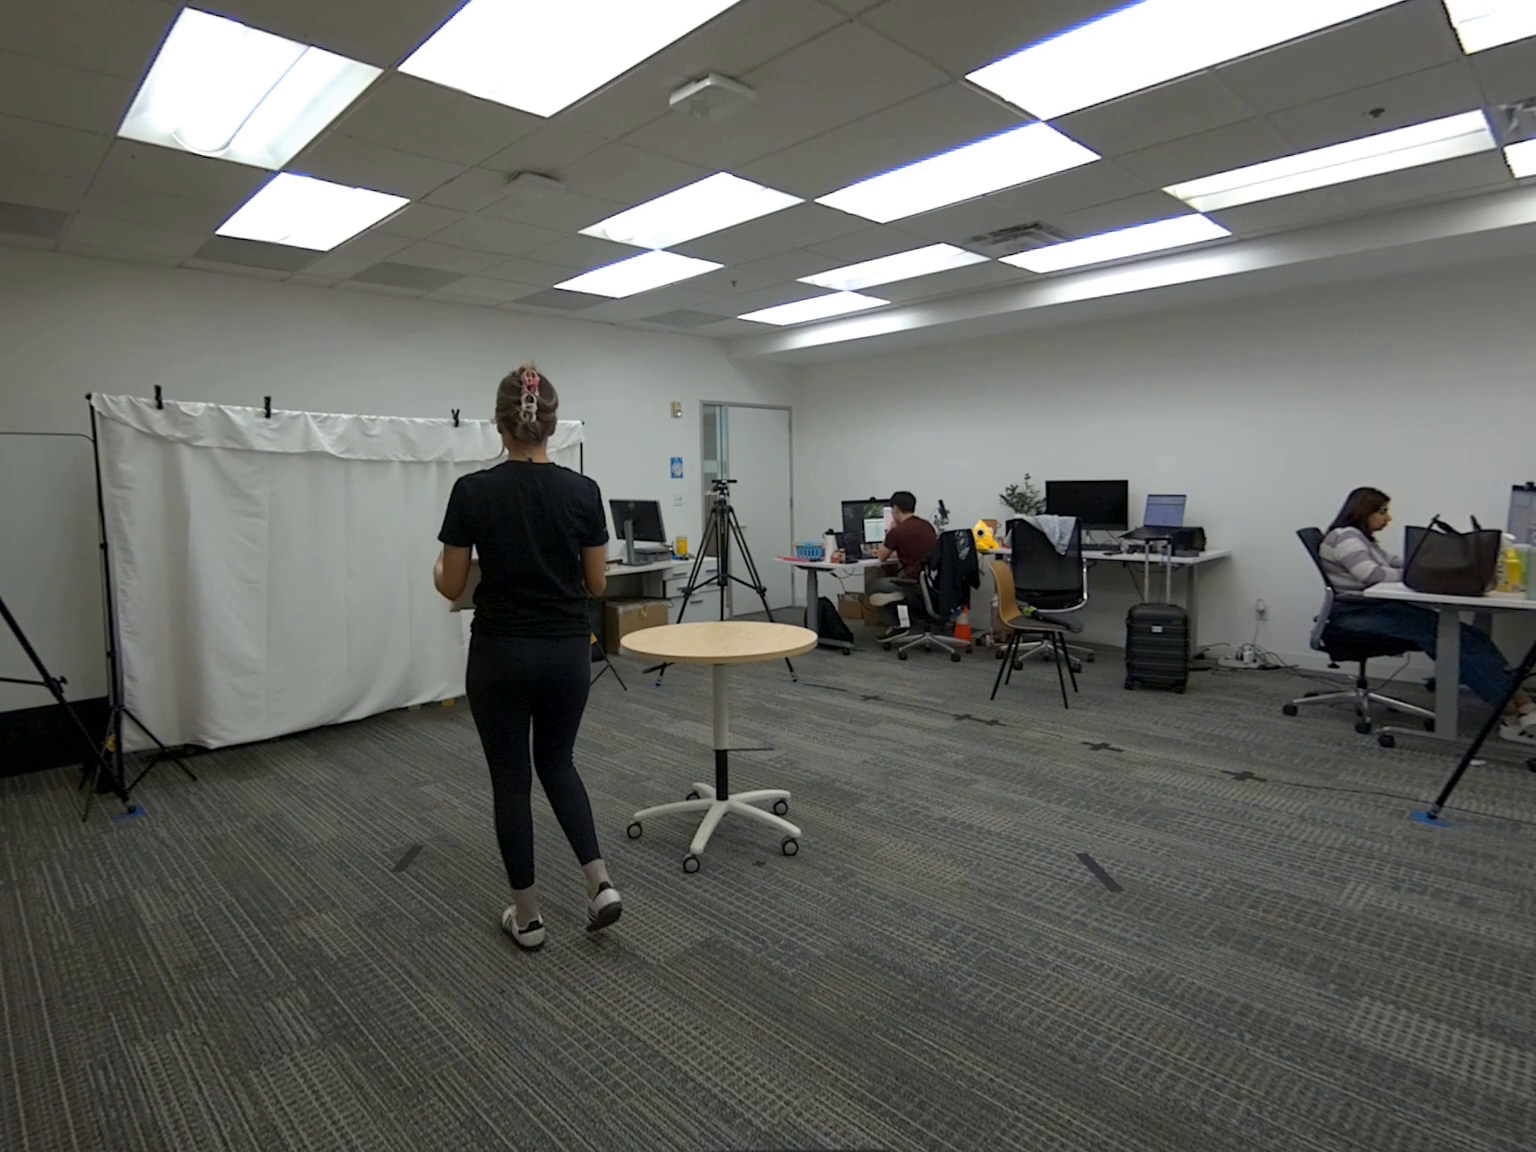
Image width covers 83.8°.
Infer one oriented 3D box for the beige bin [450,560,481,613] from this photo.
[{"bbox_3d":[-0.895,-0.008,2.984,0.415,0.187,0.388,-2,13,-20],"label":"beige bin"}]
